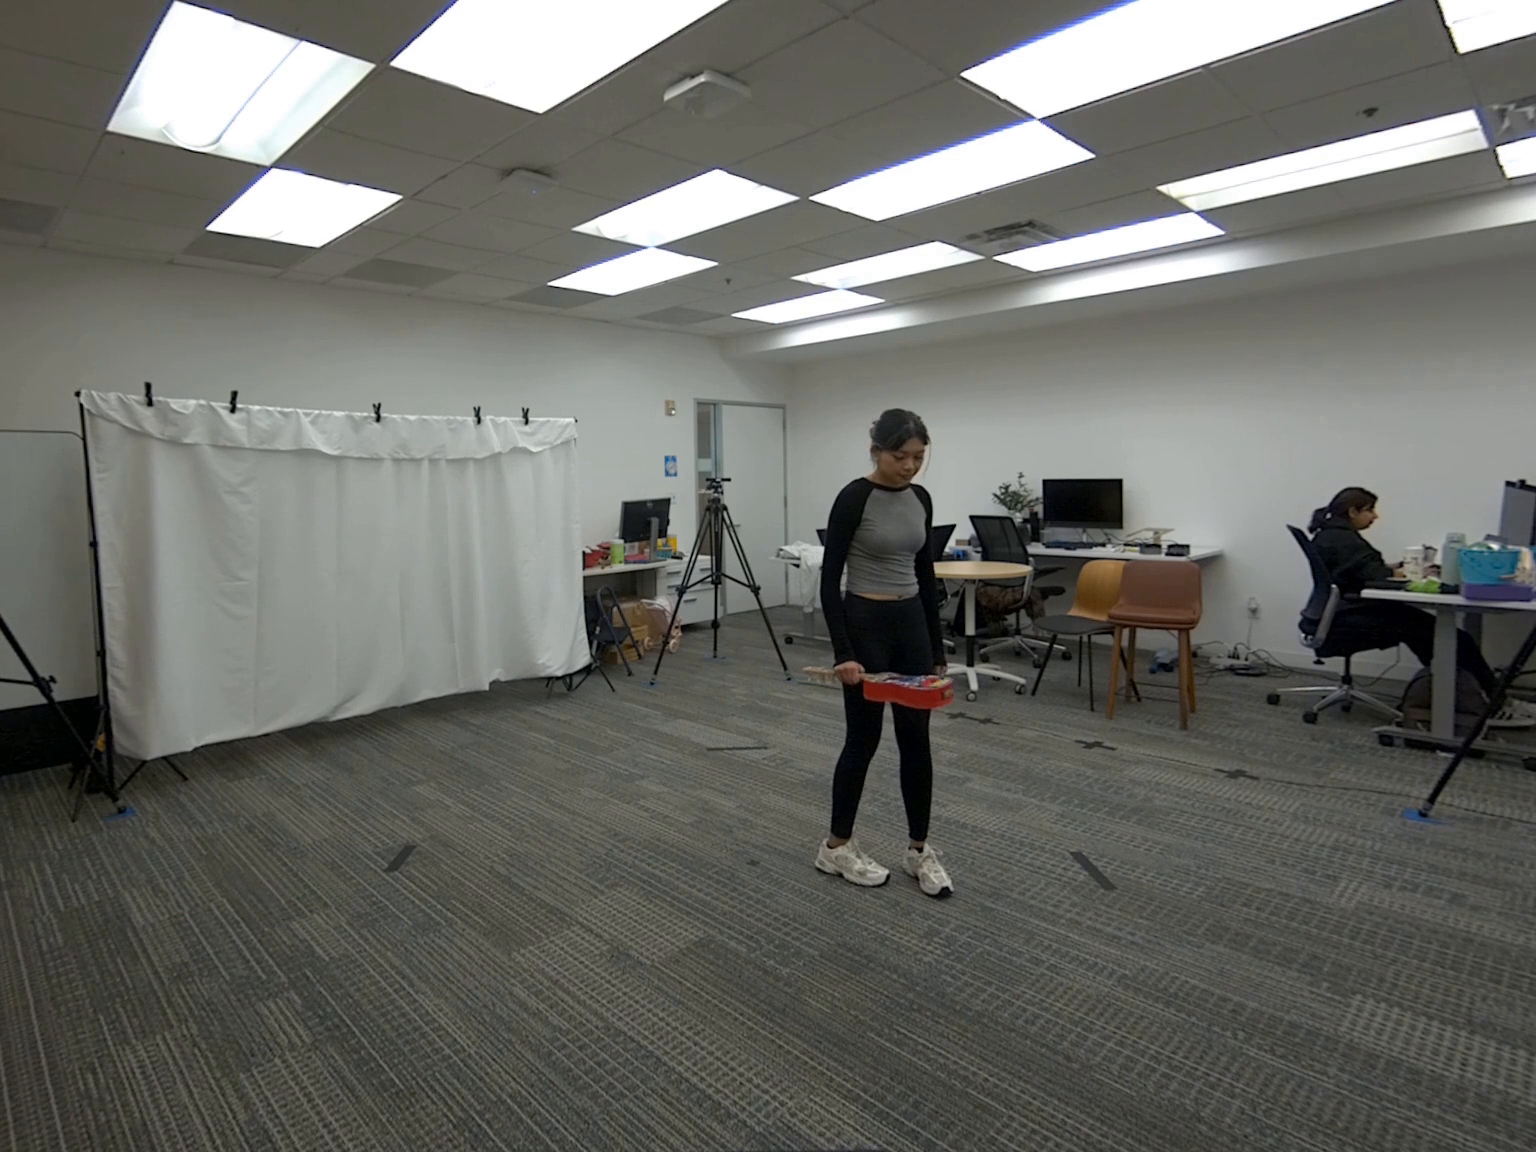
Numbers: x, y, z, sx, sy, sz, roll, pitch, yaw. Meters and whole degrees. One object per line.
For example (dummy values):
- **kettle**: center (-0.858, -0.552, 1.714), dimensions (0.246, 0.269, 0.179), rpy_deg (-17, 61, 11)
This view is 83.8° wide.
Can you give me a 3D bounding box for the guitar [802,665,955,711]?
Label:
- **guitar**: center (0.341, 0.341, 2.732), dimensions (0.513, 0.070, 0.188), rpy_deg (4, 7, 42)
